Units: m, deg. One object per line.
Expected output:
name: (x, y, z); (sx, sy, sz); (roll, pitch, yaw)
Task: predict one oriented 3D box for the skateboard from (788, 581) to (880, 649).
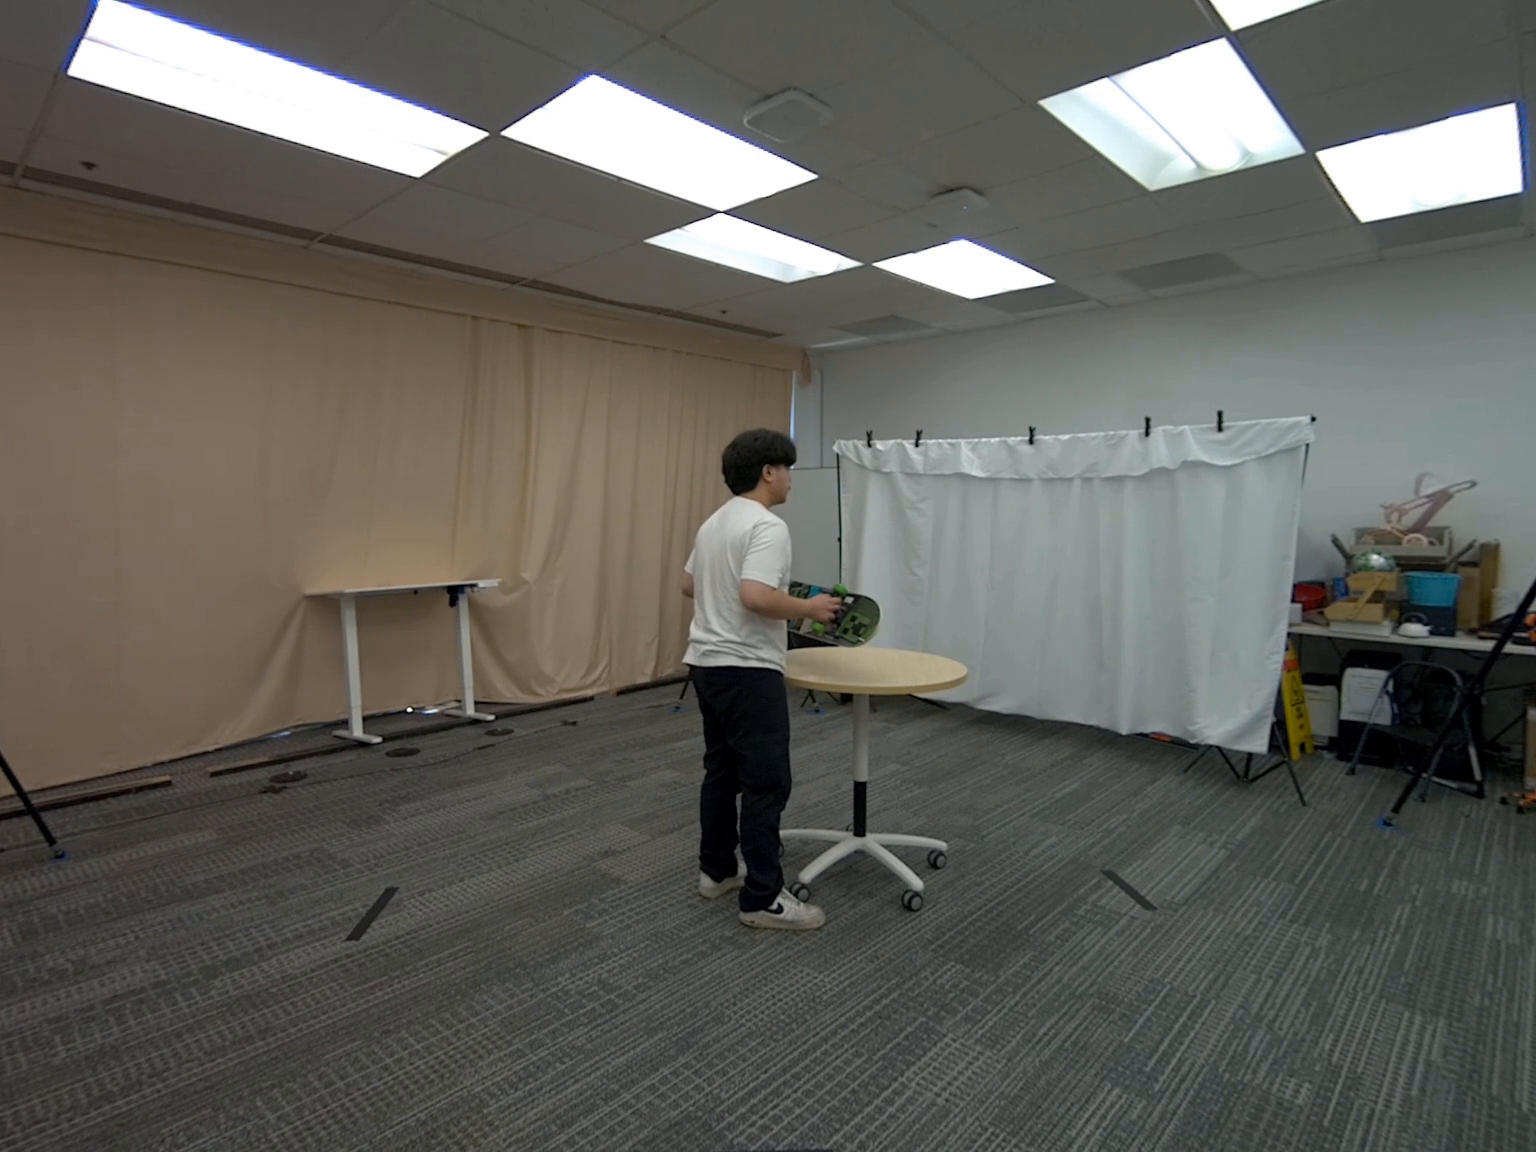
skateboard: (0.154, 0.113, 3.057); (0.107, 0.193, 0.806); (35, -9, -24)
